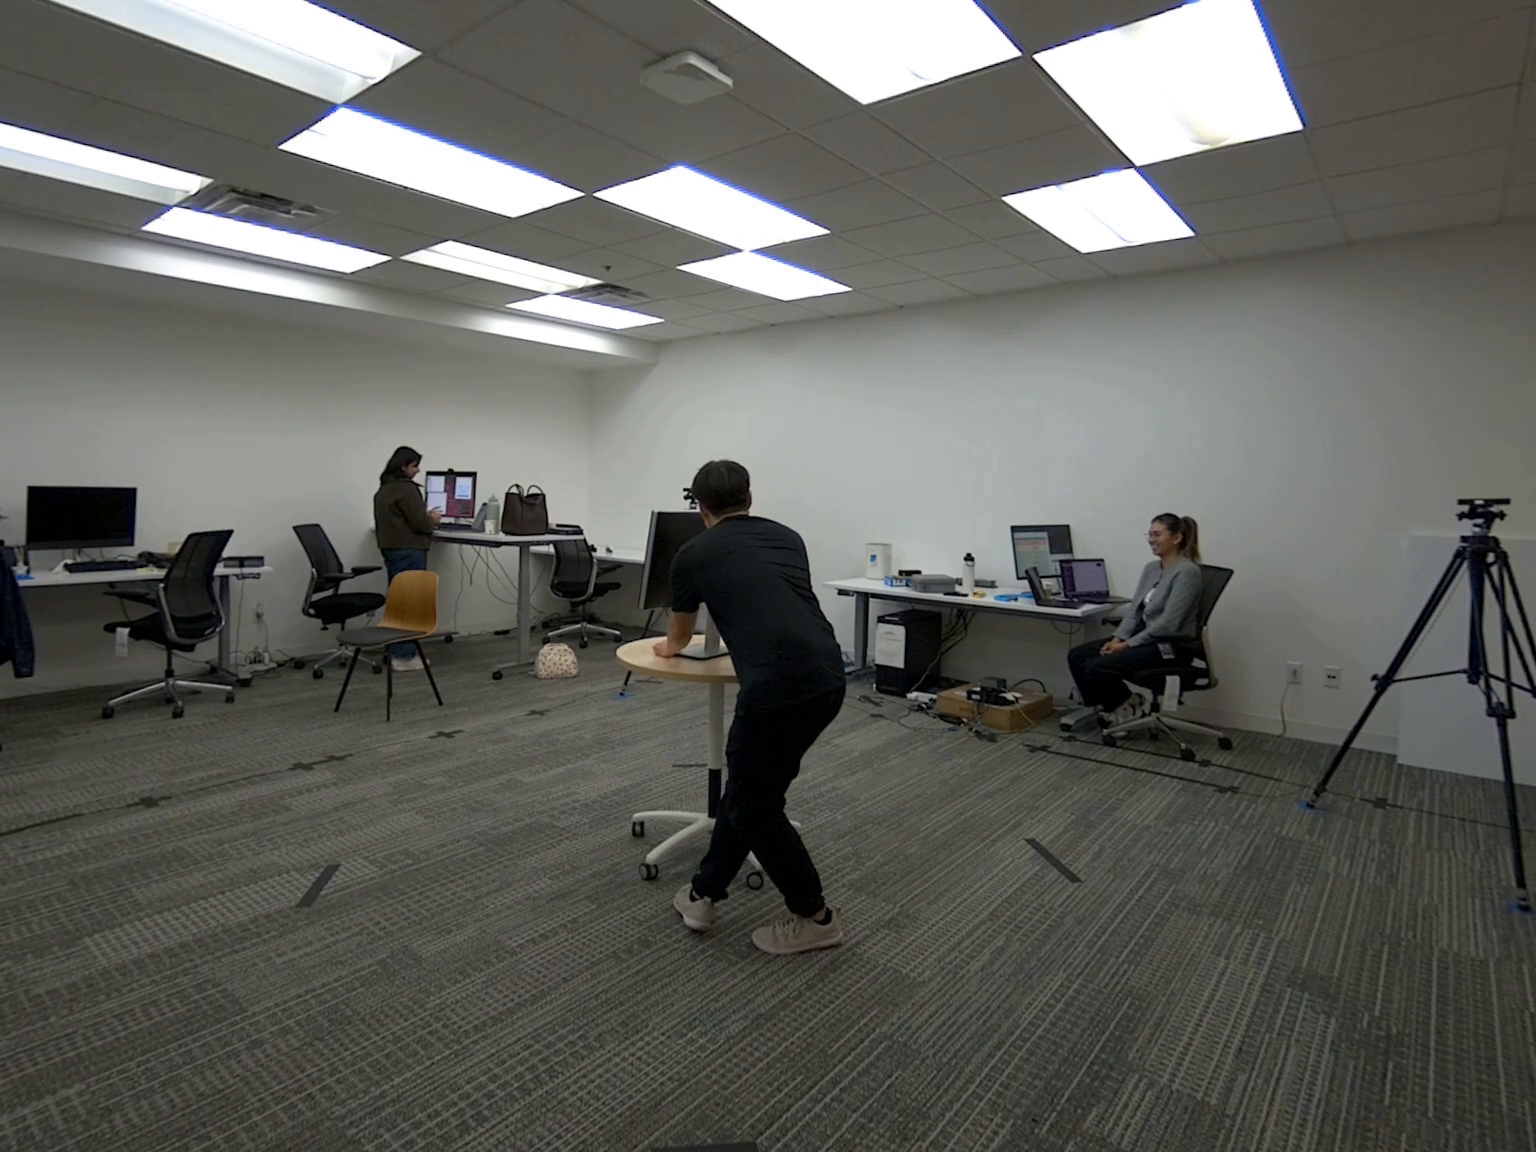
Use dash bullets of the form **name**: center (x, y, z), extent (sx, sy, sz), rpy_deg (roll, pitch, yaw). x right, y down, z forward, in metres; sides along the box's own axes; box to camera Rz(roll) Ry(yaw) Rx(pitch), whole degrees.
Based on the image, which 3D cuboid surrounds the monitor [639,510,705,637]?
- **monitor**: center (-0.251, 0.020, 3.201), extent (0.193, 0.522, 0.524), rpy_deg (0, 2, 33)
